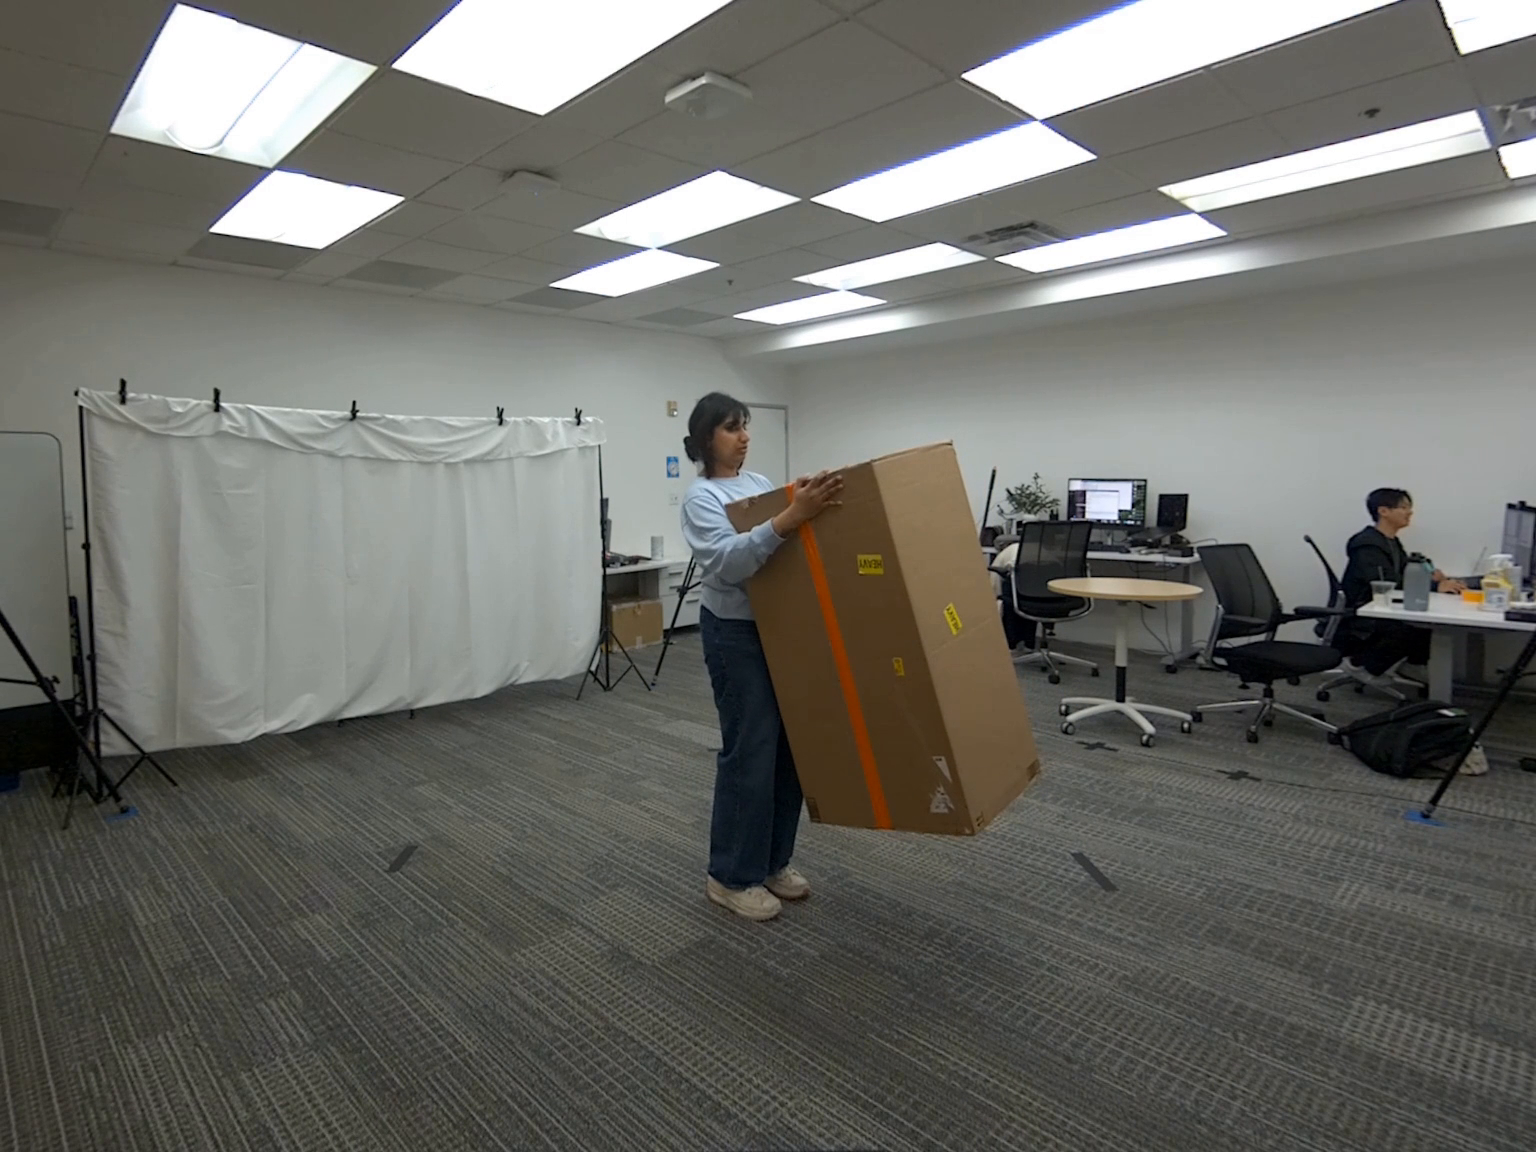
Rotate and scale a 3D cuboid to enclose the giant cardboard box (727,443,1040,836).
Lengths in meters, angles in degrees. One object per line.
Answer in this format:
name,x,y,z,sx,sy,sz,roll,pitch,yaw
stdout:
giant cardboard box,0.340,0.183,2.561,0.438,1.026,0.596,-17,2,-43
